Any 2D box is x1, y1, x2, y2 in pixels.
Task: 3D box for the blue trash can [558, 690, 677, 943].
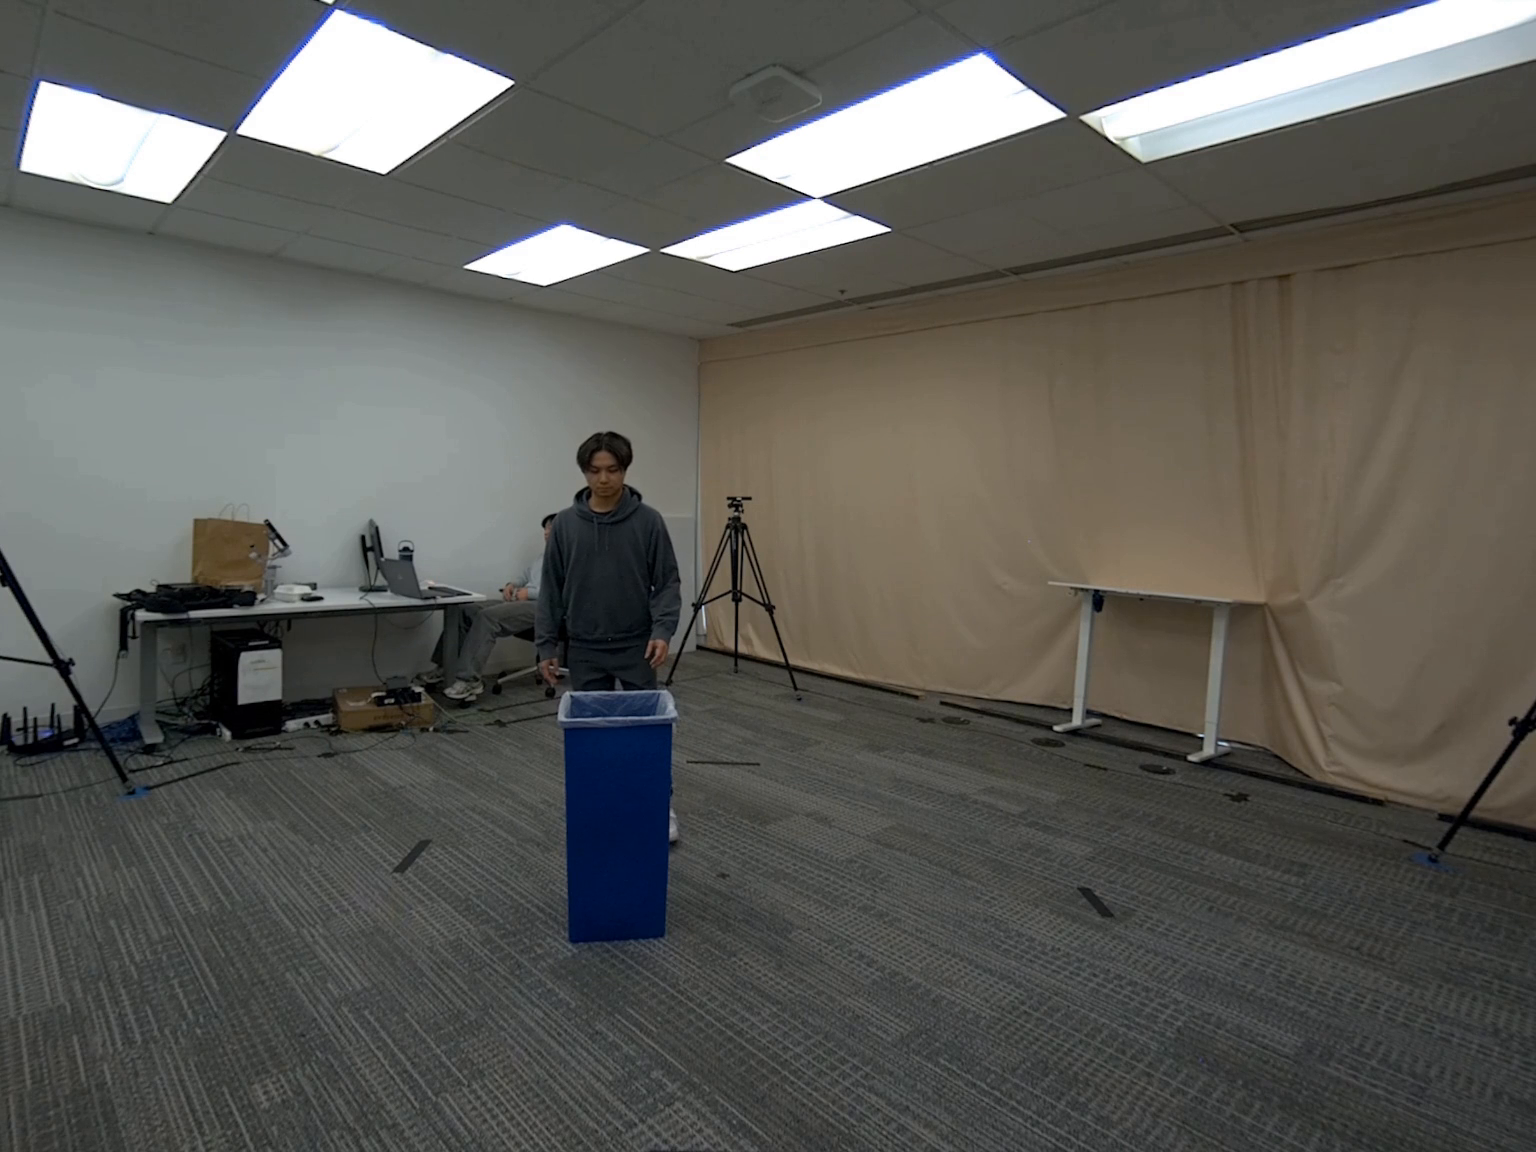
[{"bbox_3d":[-0.504,0.771,2.754,0.371,0.712,0.382,1,3,-10],"label":"blue trash can"}]
